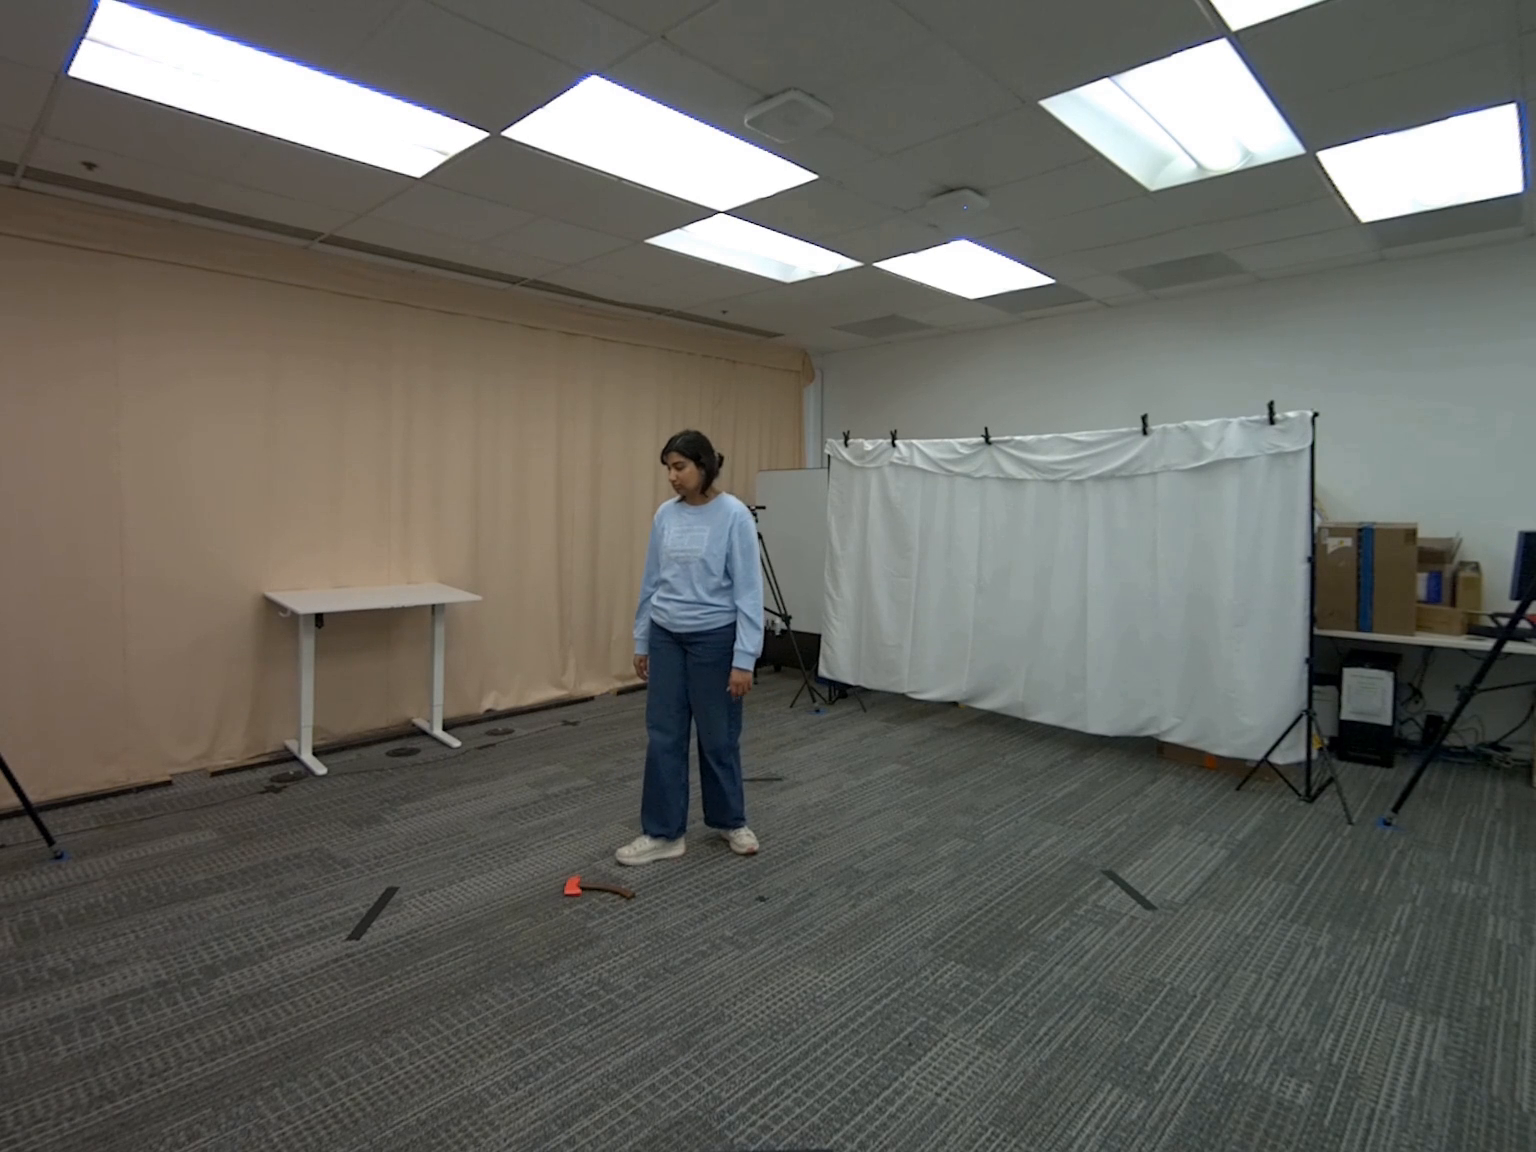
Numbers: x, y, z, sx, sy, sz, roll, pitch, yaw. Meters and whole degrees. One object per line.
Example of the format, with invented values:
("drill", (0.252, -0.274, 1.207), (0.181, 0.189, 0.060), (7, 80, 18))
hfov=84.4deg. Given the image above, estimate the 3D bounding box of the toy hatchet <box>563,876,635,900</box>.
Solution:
("toy hatchet", (-0.614, 1.129, 3.020), (0.278, 0.029, 0.127), (4, 5, 29))
